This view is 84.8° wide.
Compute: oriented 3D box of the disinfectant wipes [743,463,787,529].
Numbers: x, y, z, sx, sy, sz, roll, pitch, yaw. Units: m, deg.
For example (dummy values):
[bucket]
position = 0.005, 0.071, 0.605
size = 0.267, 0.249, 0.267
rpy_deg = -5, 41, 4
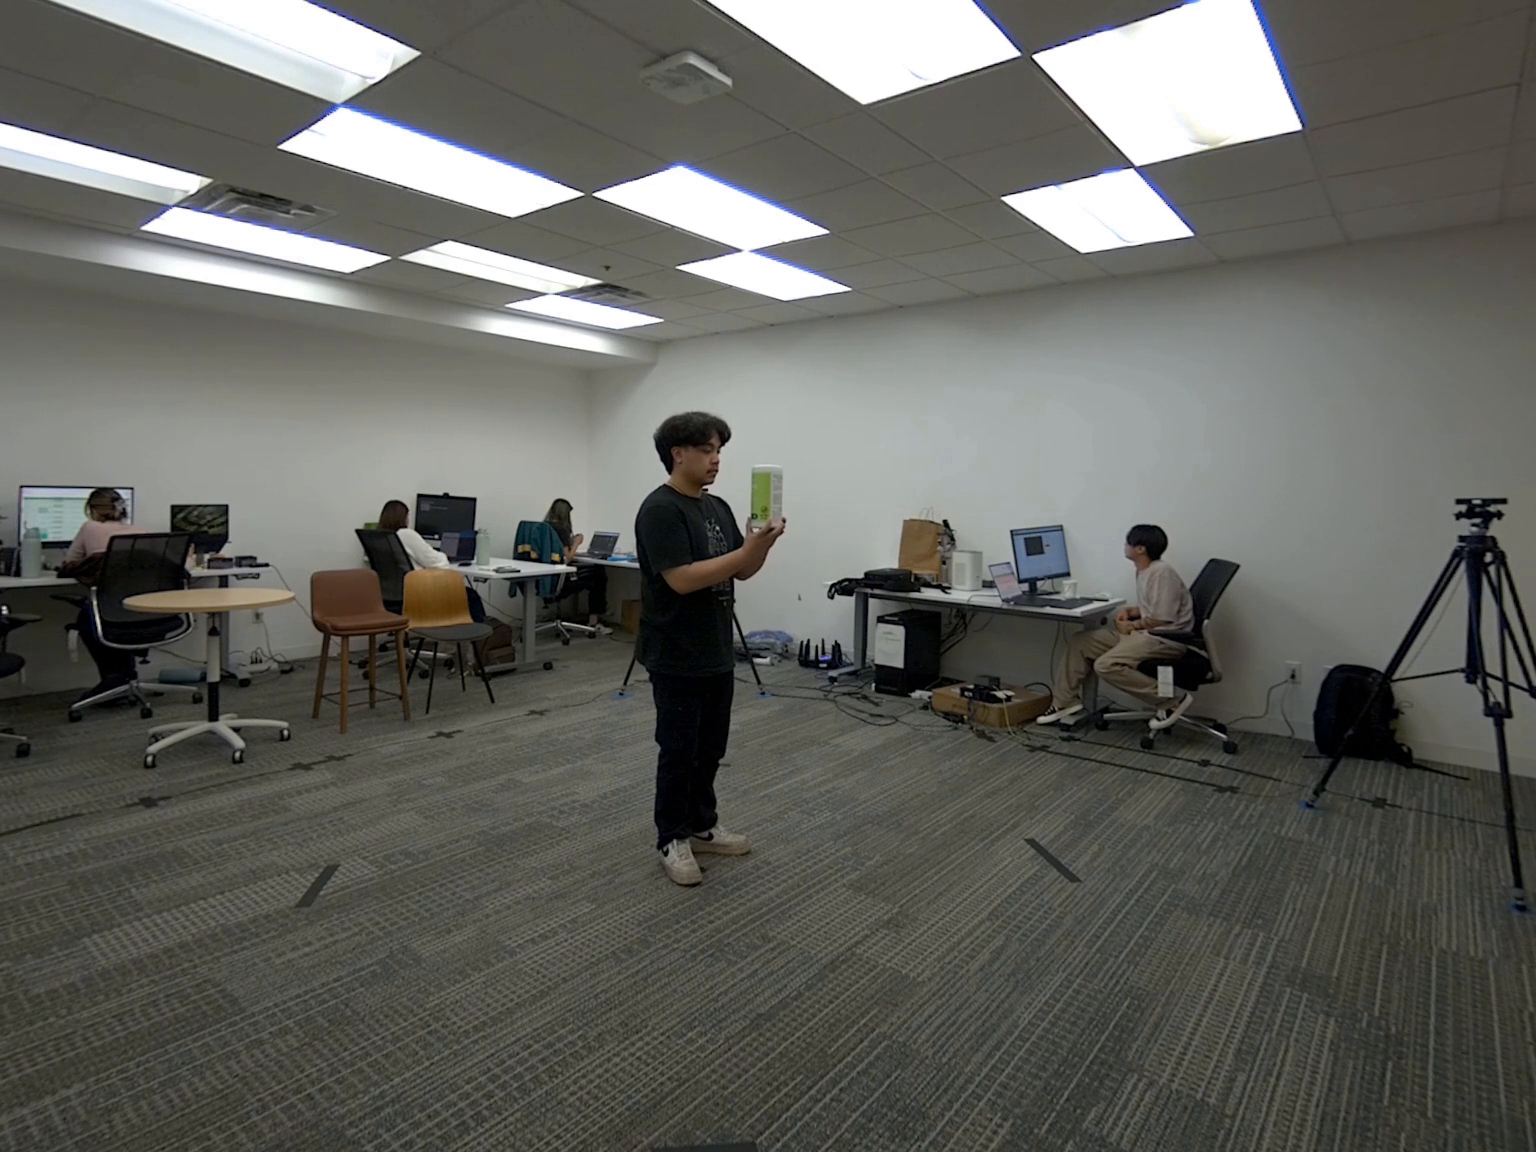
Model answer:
[disinfectant wipes]
position = -0.014, -0.271, 2.922
size = 0.118, 0.217, 0.118
rpy_deg = 7, -1, -2
